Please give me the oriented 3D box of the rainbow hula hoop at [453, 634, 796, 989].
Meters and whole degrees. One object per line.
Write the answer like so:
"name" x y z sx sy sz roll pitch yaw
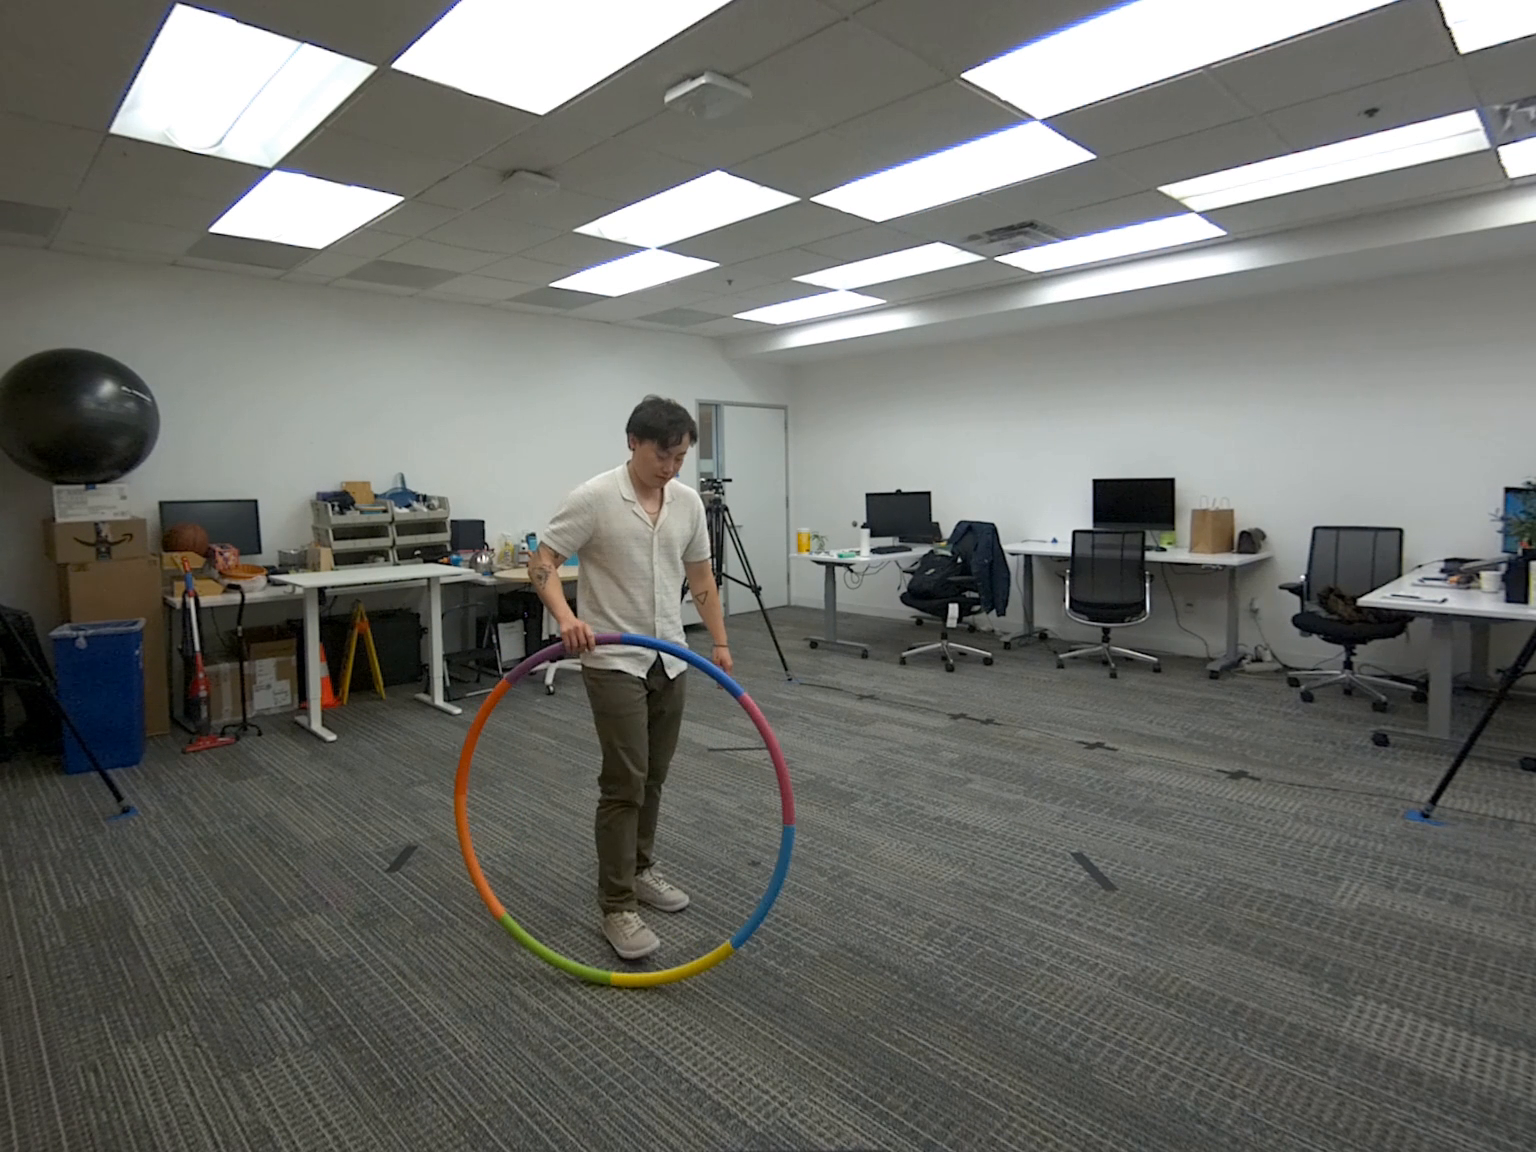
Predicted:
"rainbow hula hoop" -0.419 0.648 2.393 0.990 0.979 0.035 0 -1 12
